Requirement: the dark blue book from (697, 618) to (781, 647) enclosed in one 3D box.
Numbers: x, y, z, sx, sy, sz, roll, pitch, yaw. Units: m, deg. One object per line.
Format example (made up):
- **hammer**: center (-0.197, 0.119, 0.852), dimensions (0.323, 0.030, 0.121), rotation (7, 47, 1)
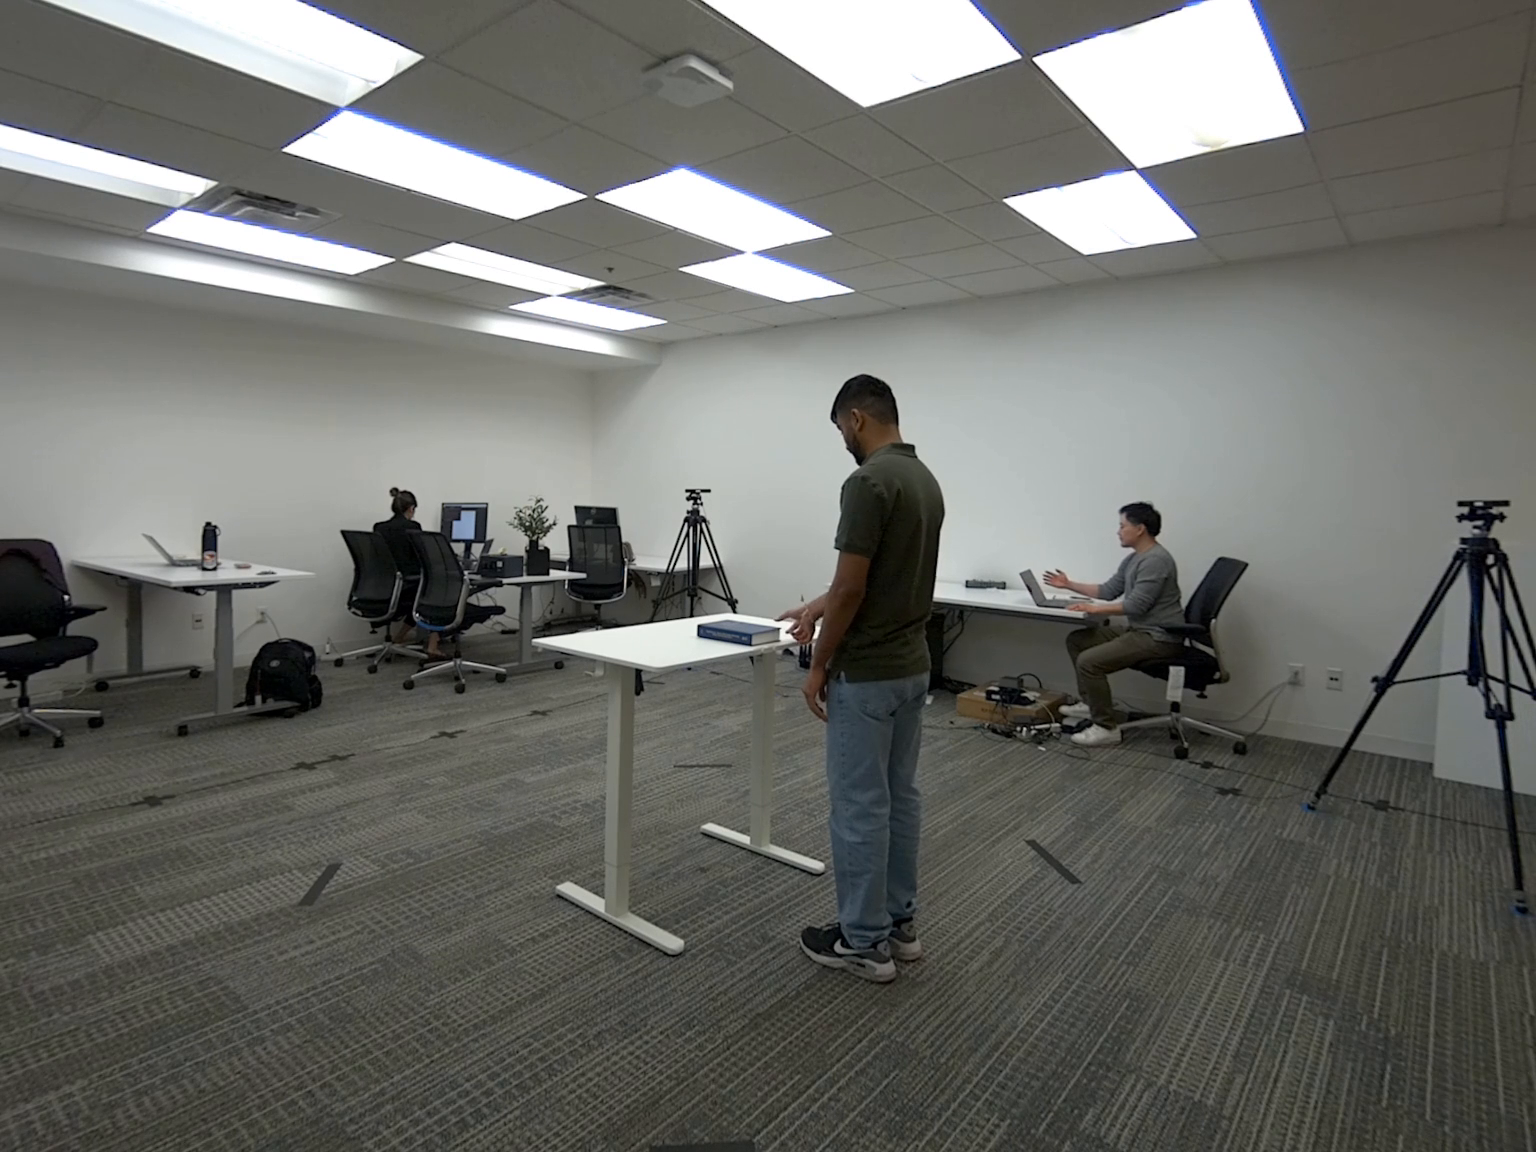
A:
- **dark blue book**: center (-0.110, 0.196, 2.906), dimensions (0.253, 0.045, 0.158), rotation (6, 7, 40)
